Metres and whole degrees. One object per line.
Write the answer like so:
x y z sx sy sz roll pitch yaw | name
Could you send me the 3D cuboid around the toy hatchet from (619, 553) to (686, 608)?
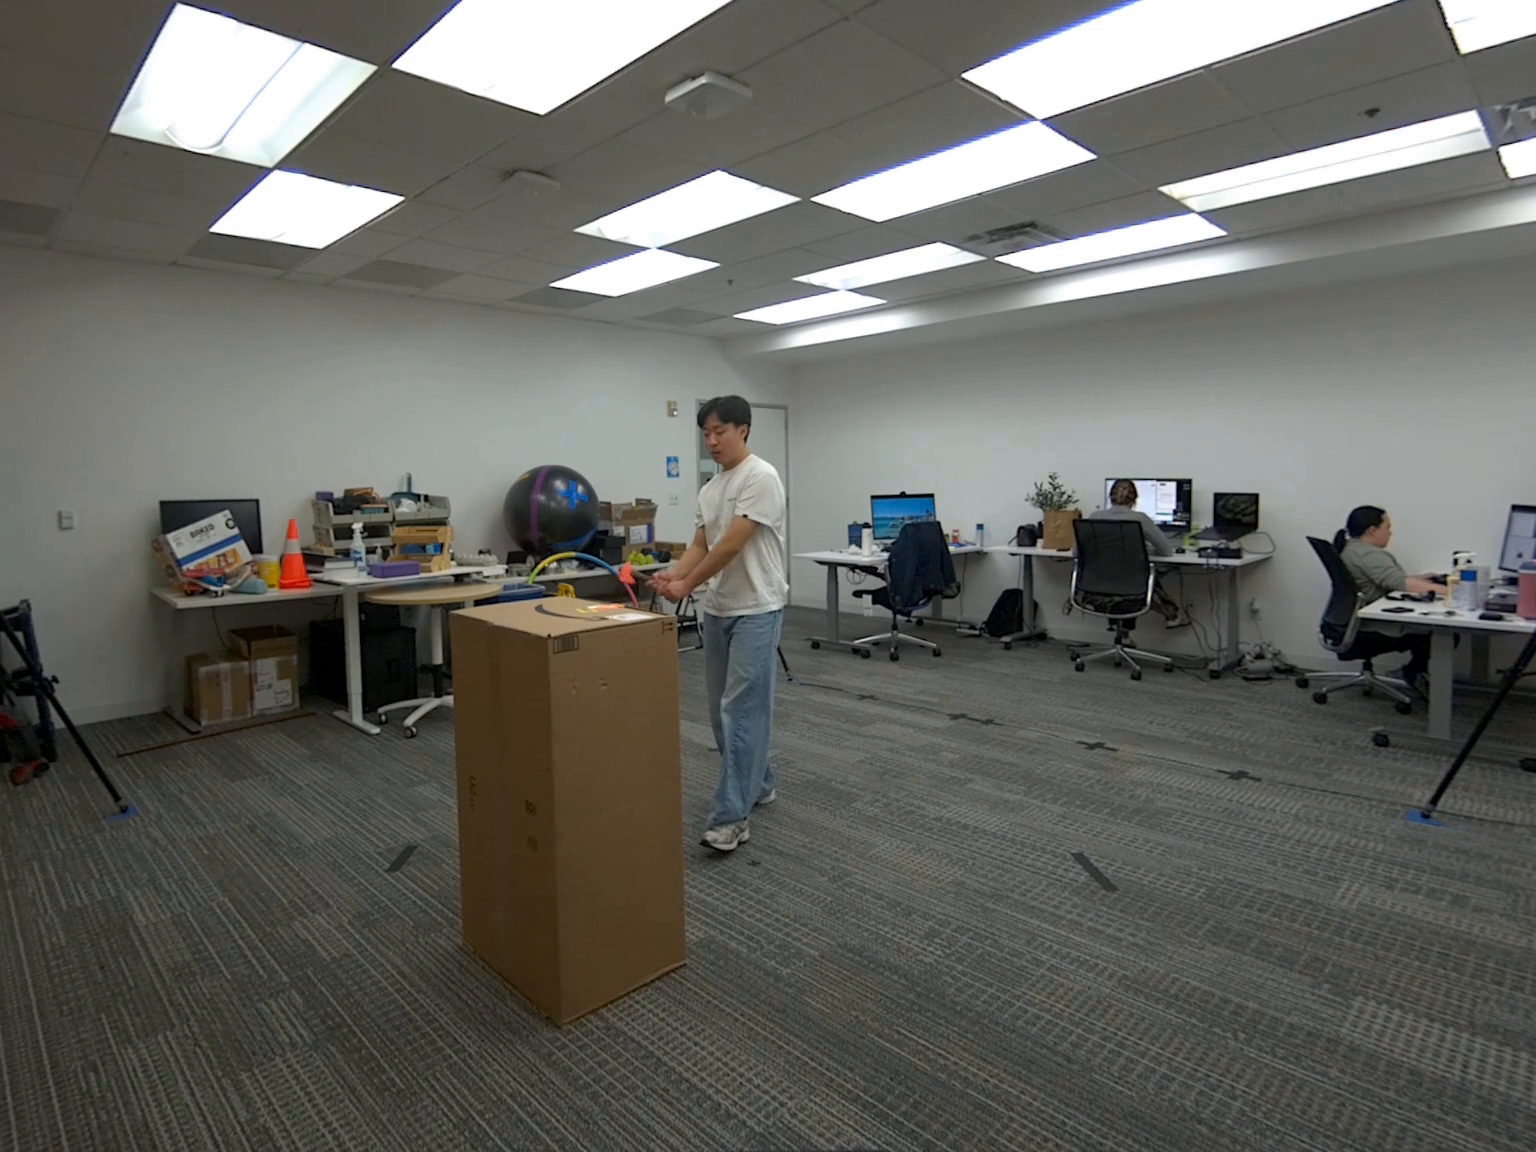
-0.450 0.013 3.431 0.273 0.029 0.131 32 30 9 | toy hatchet
